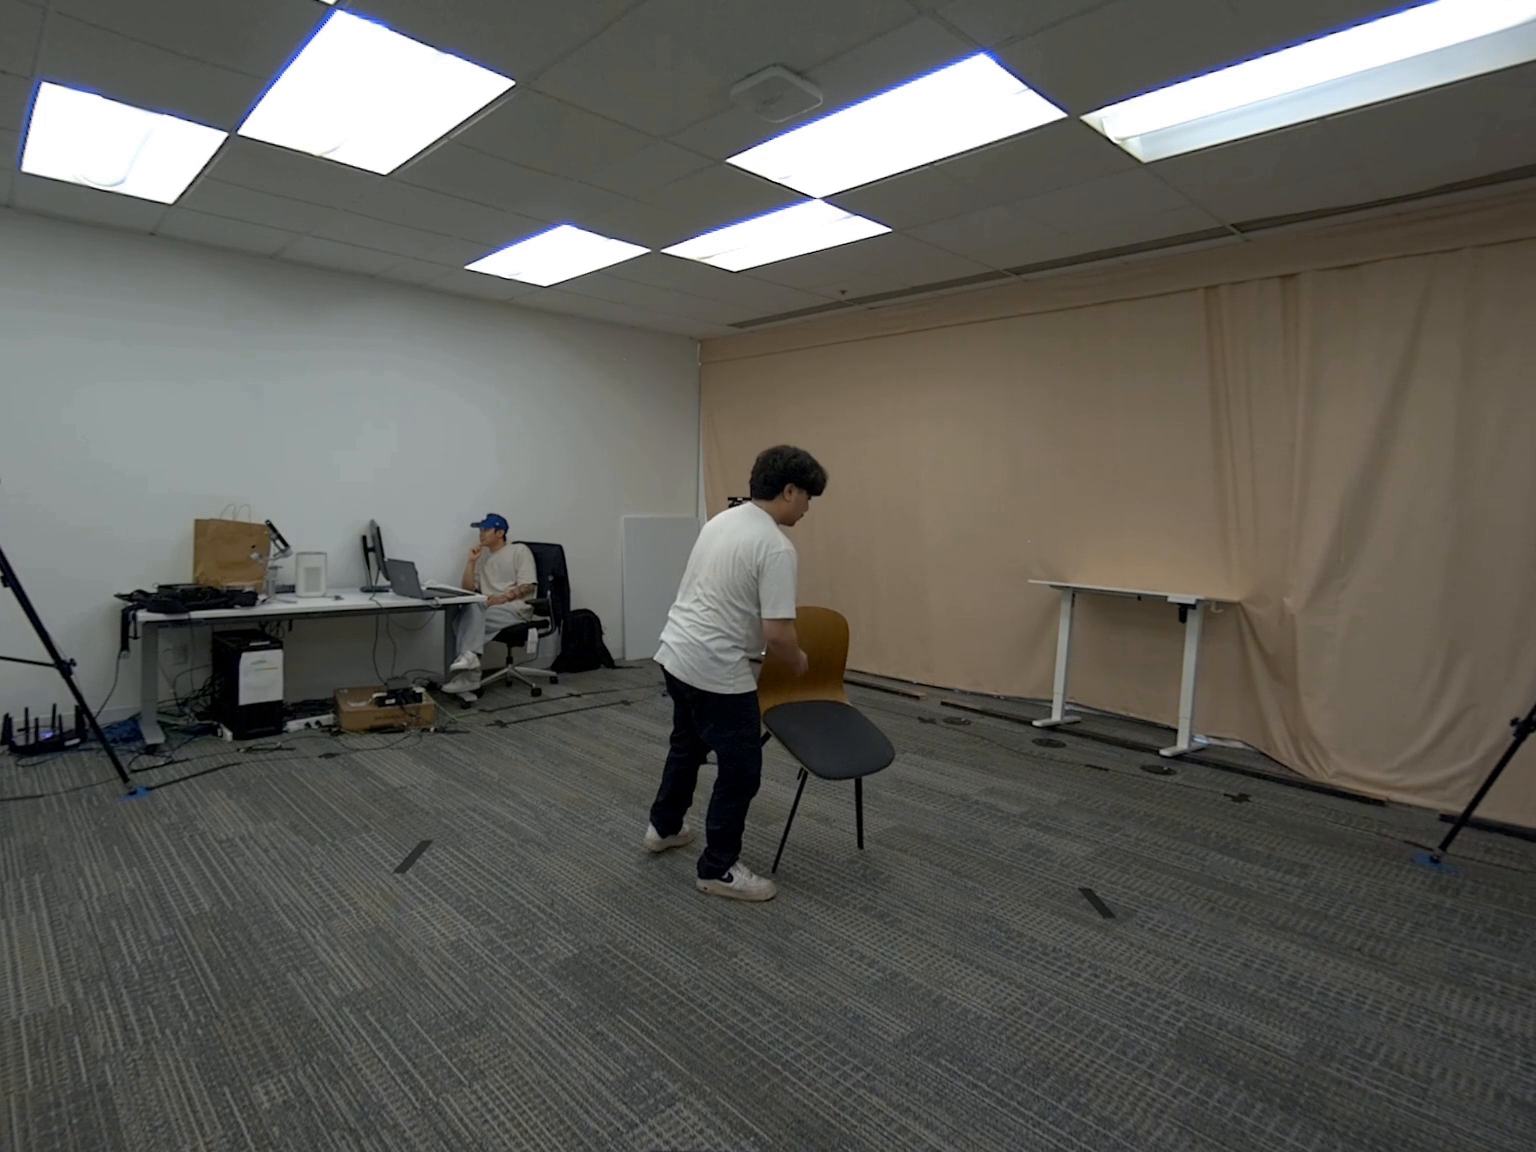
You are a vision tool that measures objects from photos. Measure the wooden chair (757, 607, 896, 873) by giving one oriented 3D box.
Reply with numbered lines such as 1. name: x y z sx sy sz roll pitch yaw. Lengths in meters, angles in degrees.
1. wooden chair: 0.185 0.624 3.261 0.467 0.869 0.540 0 22 -36
